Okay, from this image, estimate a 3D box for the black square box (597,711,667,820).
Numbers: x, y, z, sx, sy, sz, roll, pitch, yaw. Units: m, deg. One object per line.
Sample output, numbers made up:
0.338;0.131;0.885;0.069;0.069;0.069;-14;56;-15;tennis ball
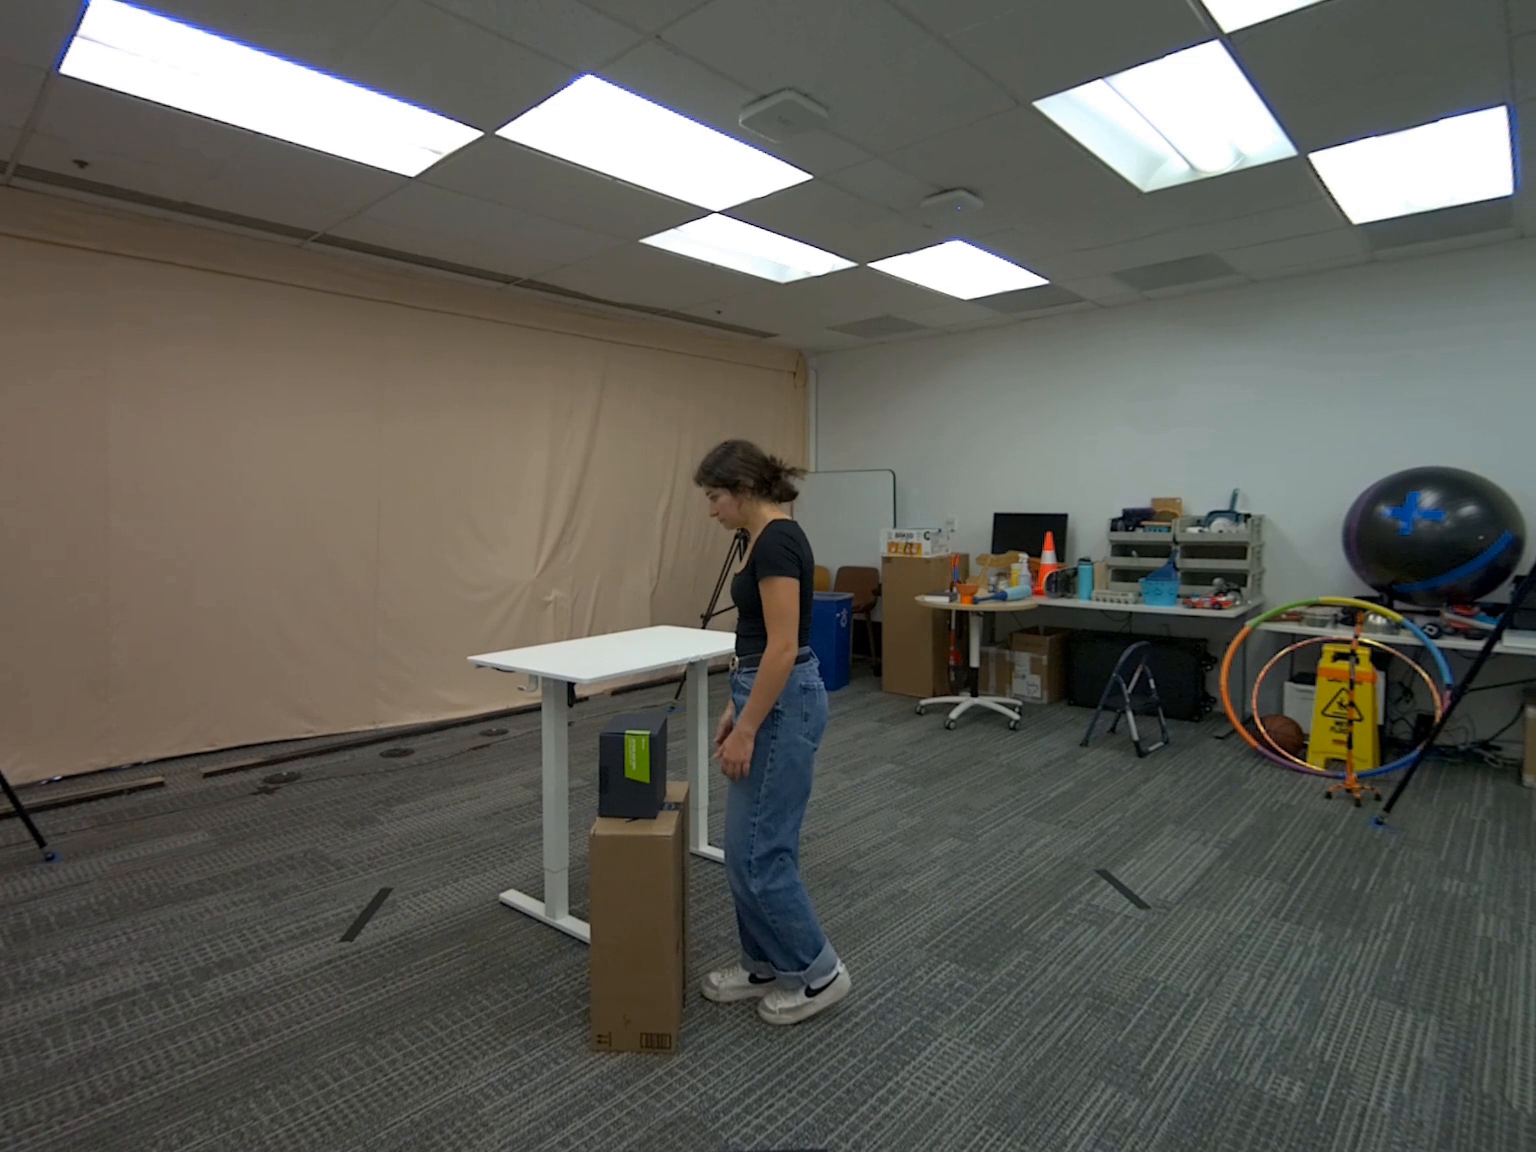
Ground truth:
-0.373;0.513;2.339;0.156;0.227;0.217;0;6;1;black square box
